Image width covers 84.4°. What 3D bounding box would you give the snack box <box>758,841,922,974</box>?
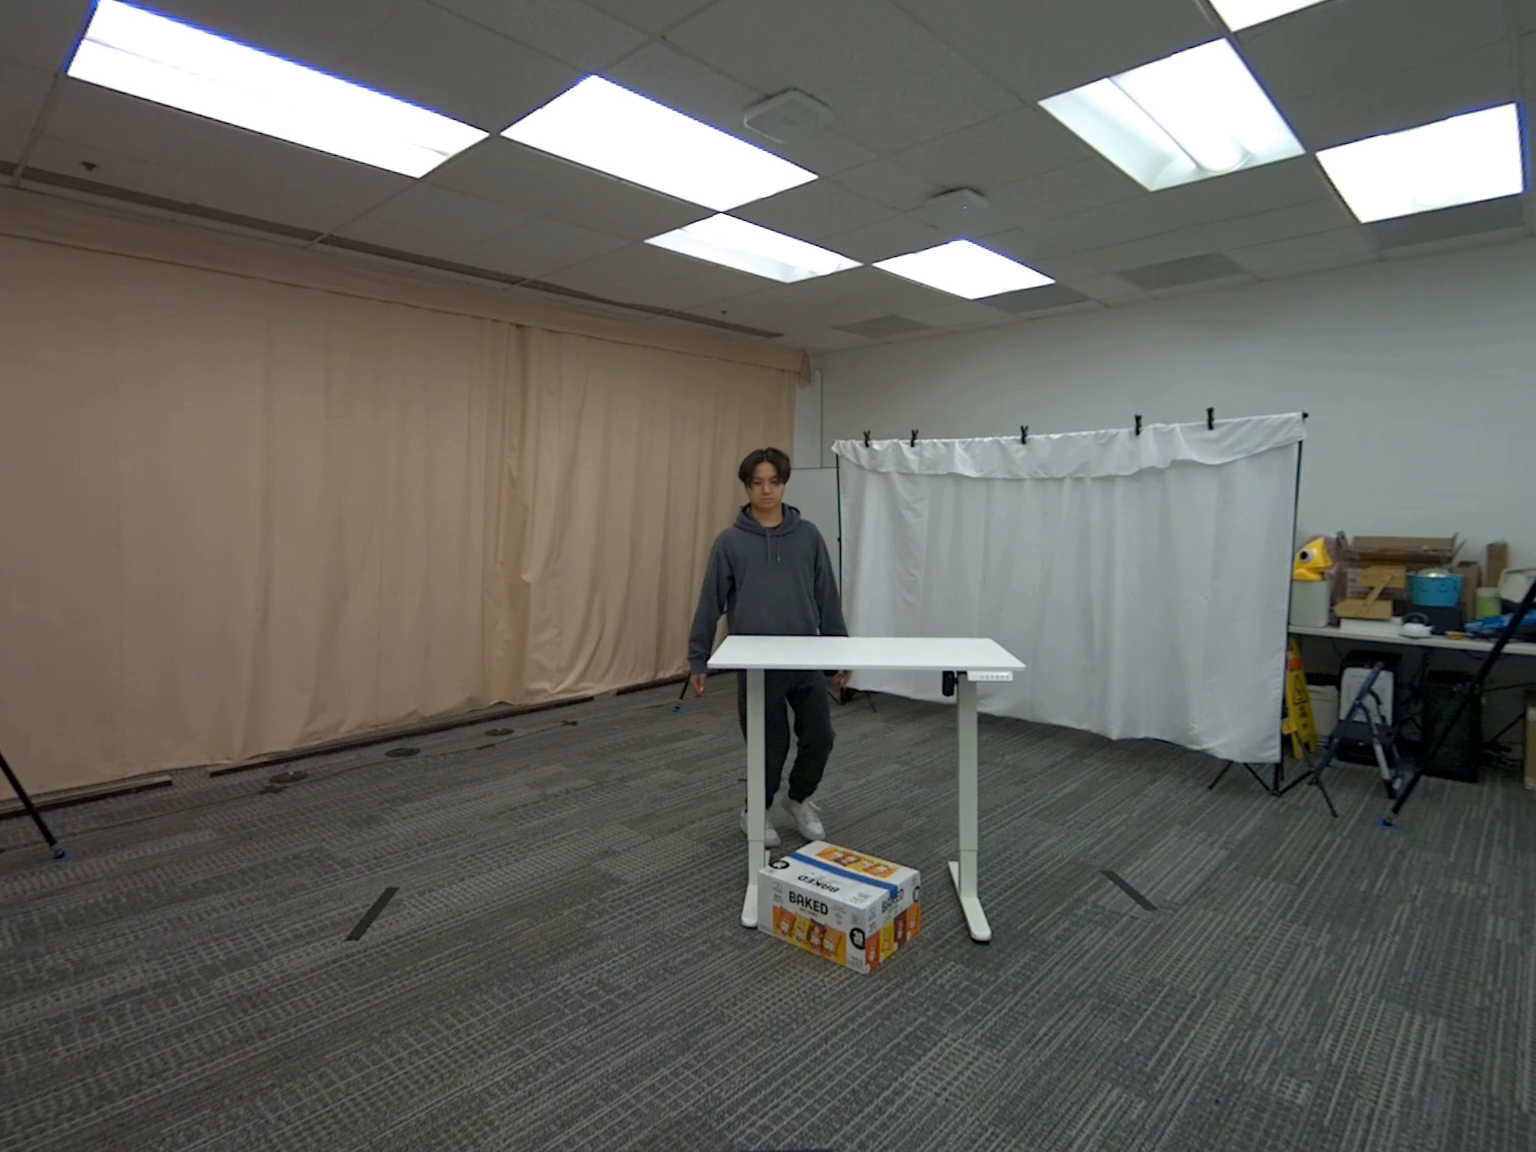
[{"bbox_3d":[0.234,1.061,2.742,0.418,0.205,0.330,3,6,39],"label":"snack box"}]
